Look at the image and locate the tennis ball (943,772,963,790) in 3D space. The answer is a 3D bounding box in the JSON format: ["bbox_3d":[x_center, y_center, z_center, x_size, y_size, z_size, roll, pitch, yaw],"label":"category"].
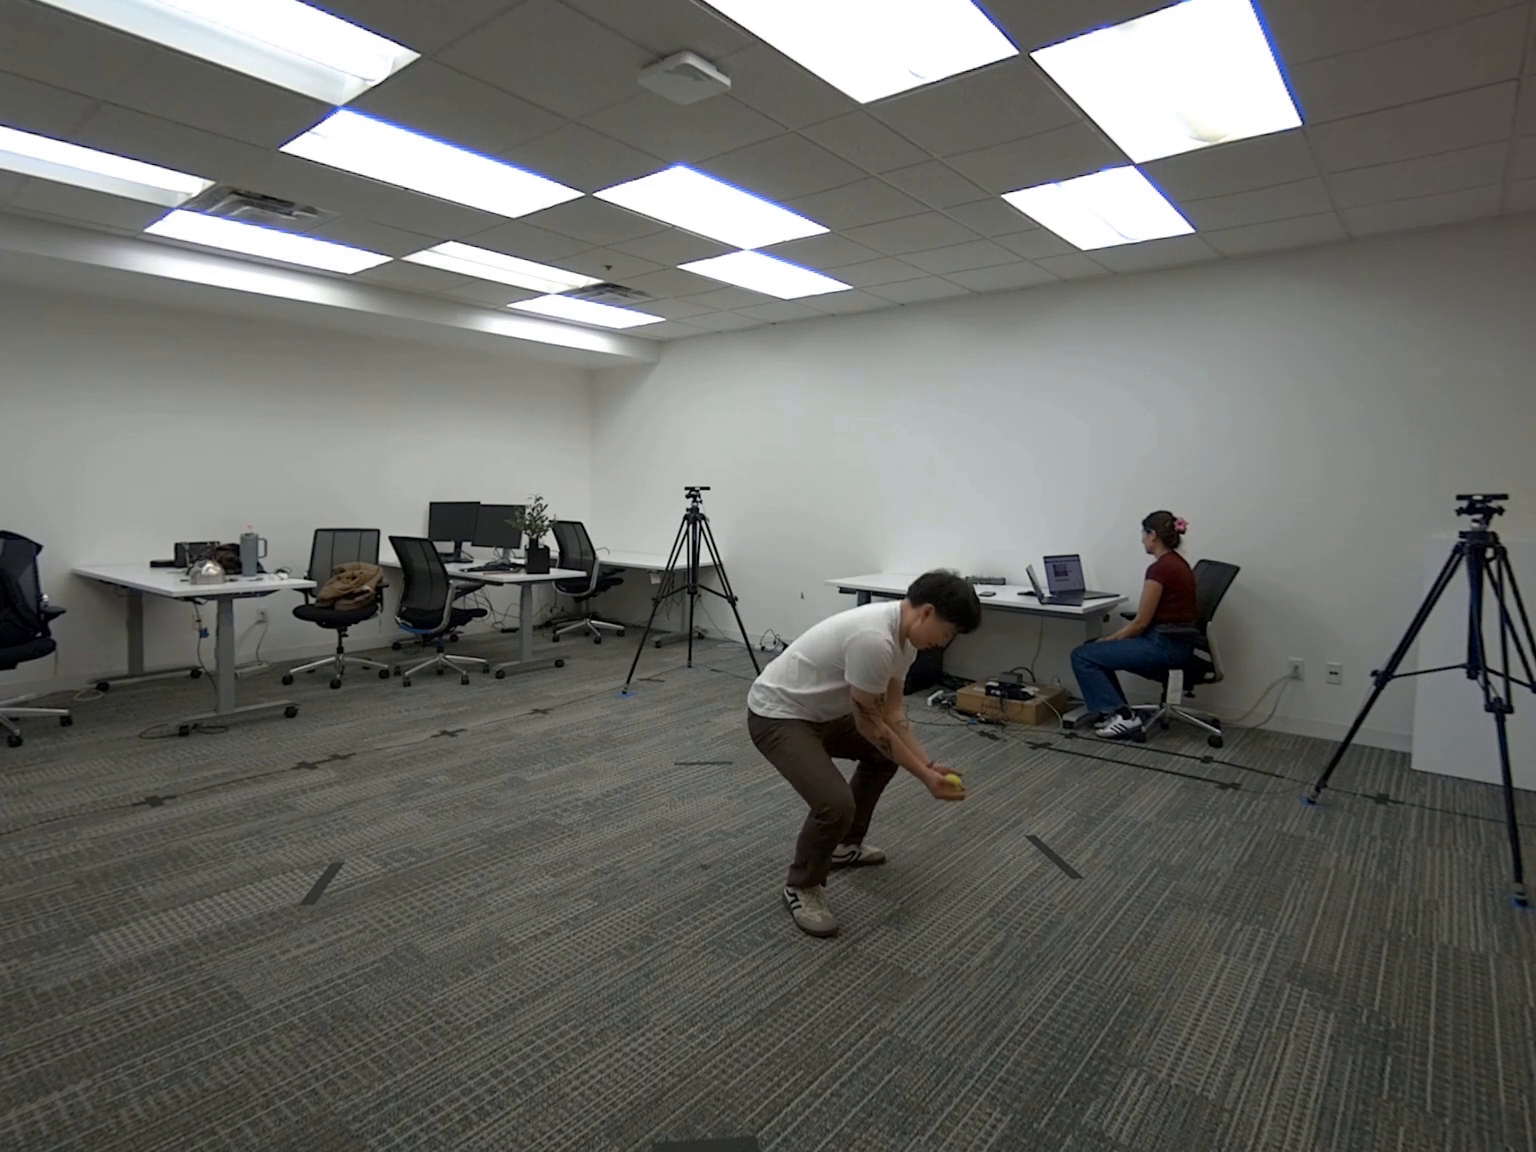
[{"bbox_3d":[0.589,0.665,2.793,0.066,0.066,0.067,1,4,-2],"label":"tennis ball"}]
